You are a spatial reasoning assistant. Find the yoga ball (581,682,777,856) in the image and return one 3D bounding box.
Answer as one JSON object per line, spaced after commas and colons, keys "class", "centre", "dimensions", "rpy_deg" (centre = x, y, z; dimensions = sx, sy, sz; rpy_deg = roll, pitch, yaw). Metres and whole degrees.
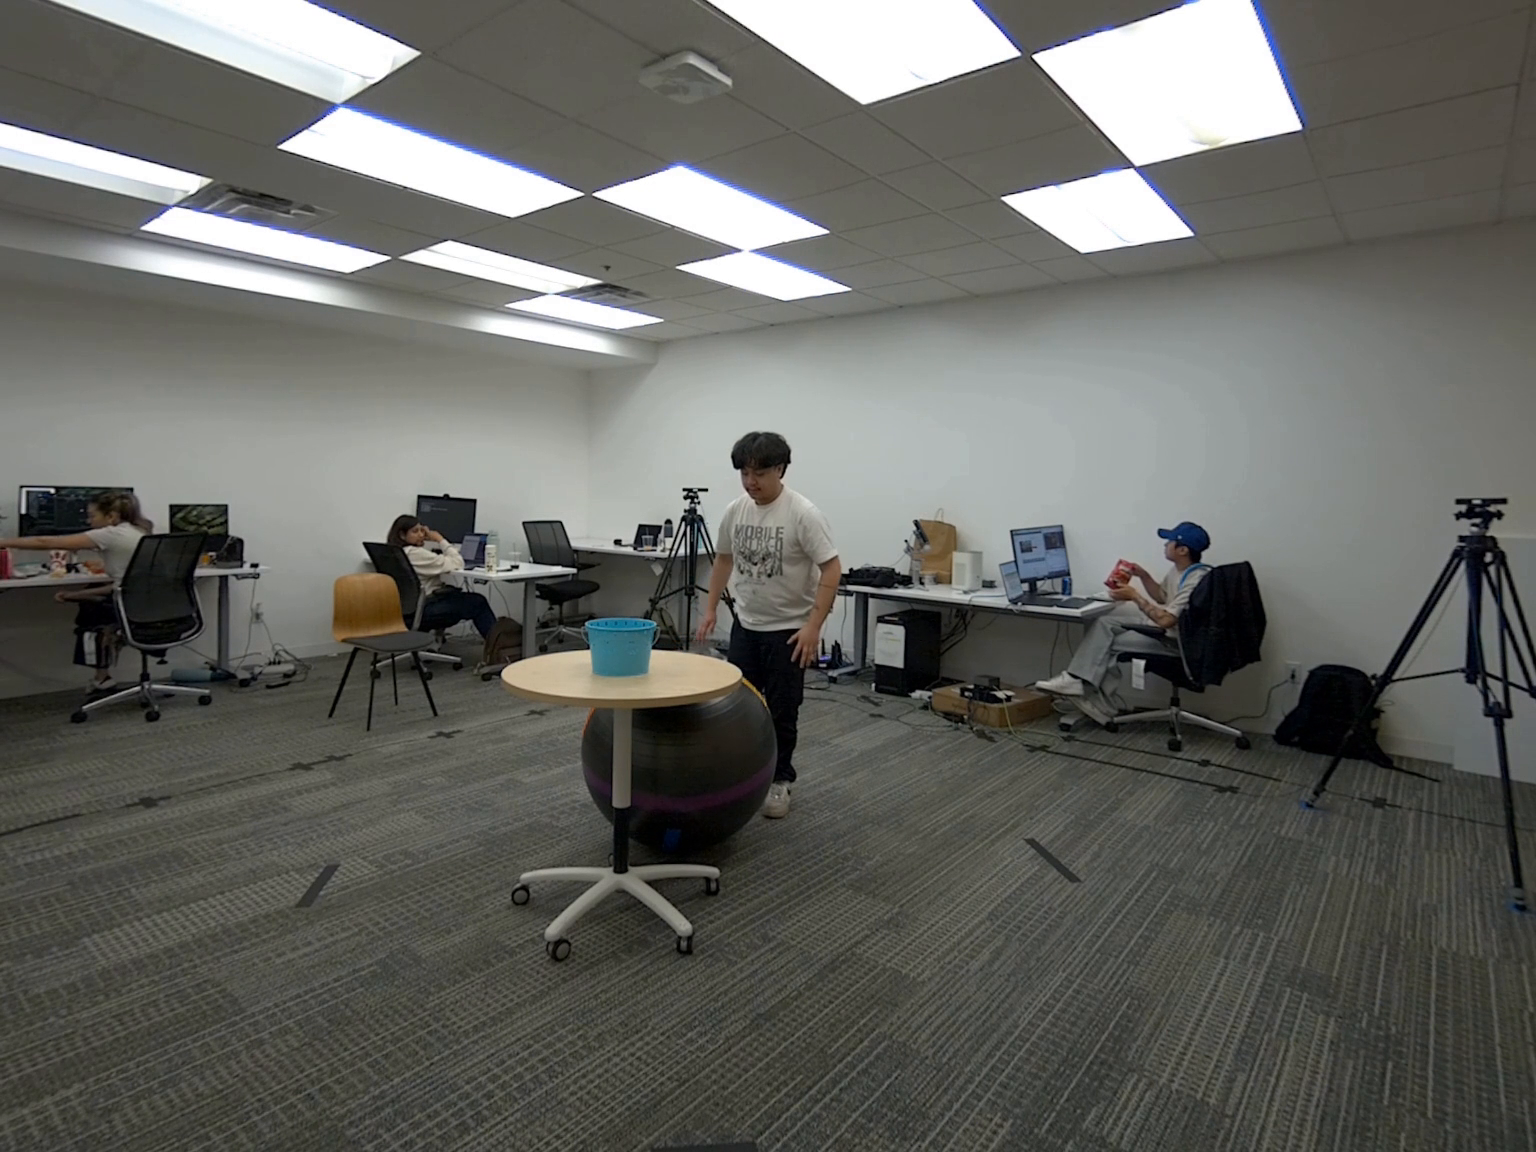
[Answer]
{"class": "yoga ball", "centre": [-0.357, 0.683, 3.319], "dimensions": [0.757, 0.755, 0.762], "rpy_deg": [1, 4, -2]}
